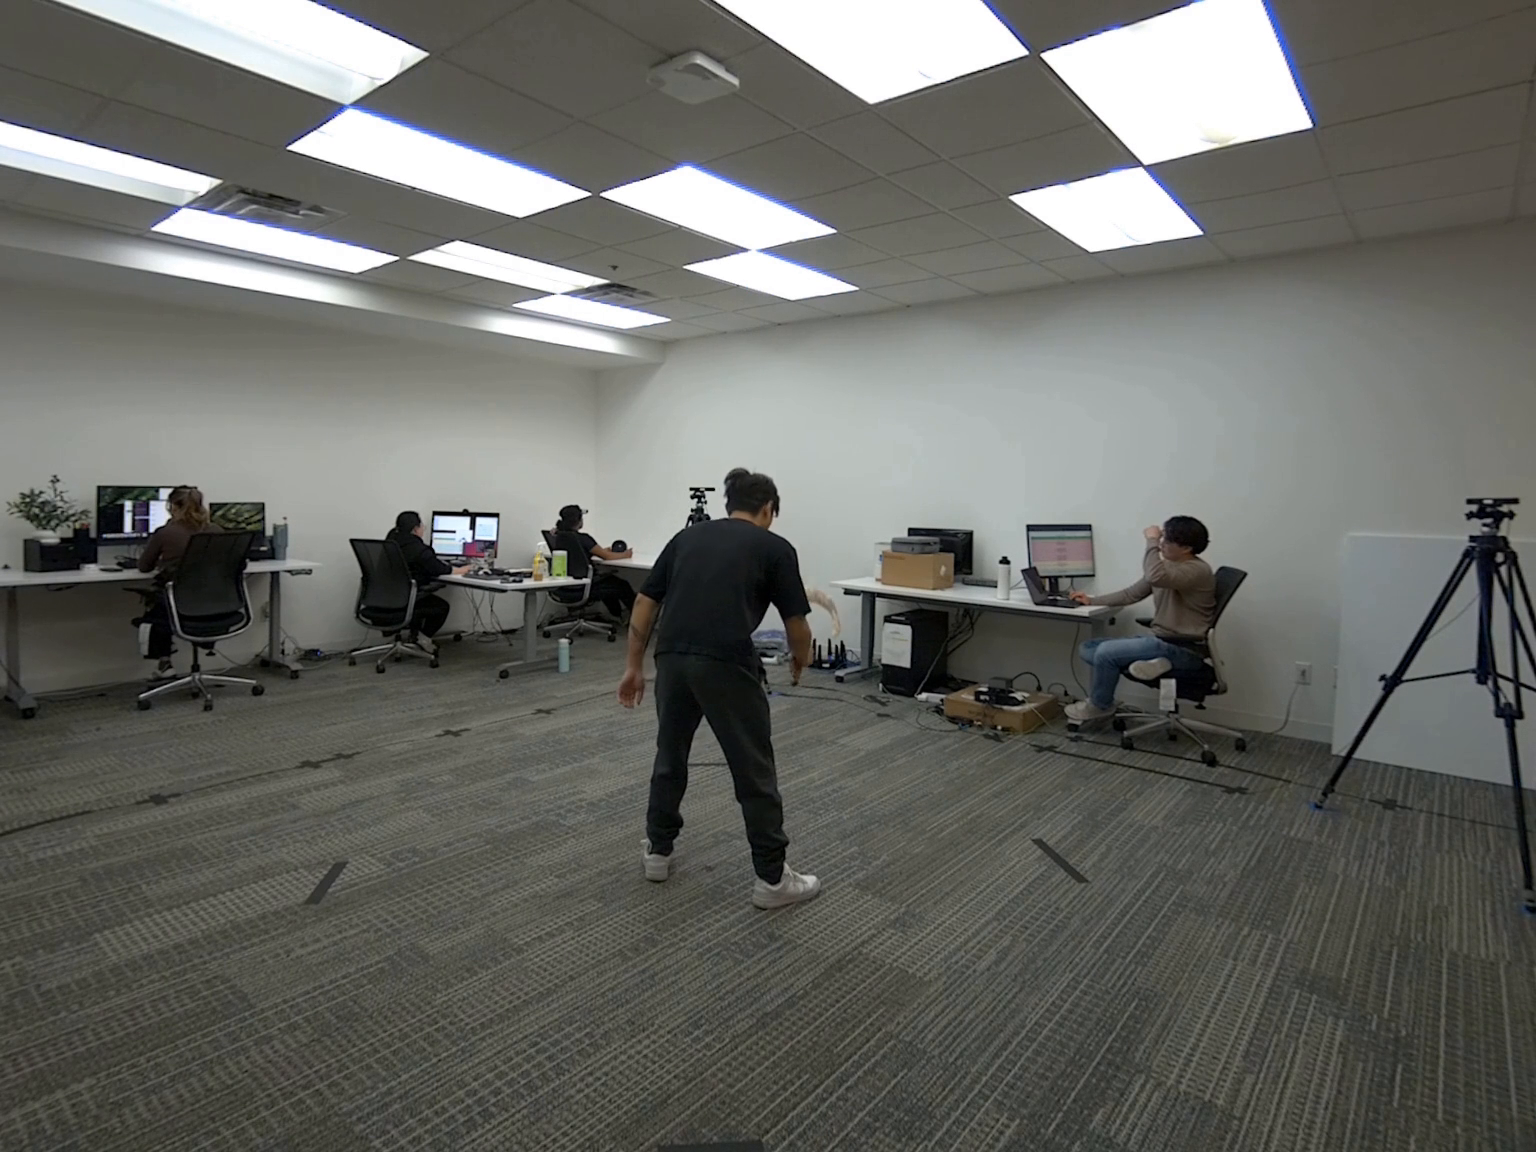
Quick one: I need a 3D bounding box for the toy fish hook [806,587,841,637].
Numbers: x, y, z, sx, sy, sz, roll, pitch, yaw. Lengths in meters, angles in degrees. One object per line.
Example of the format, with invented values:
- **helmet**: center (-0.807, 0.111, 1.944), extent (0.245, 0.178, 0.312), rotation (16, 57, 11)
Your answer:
- **toy fish hook**: center (0.172, 0.252, 3.292), extent (0.222, 0.516, 0.048), rotation (26, -46, -10)
